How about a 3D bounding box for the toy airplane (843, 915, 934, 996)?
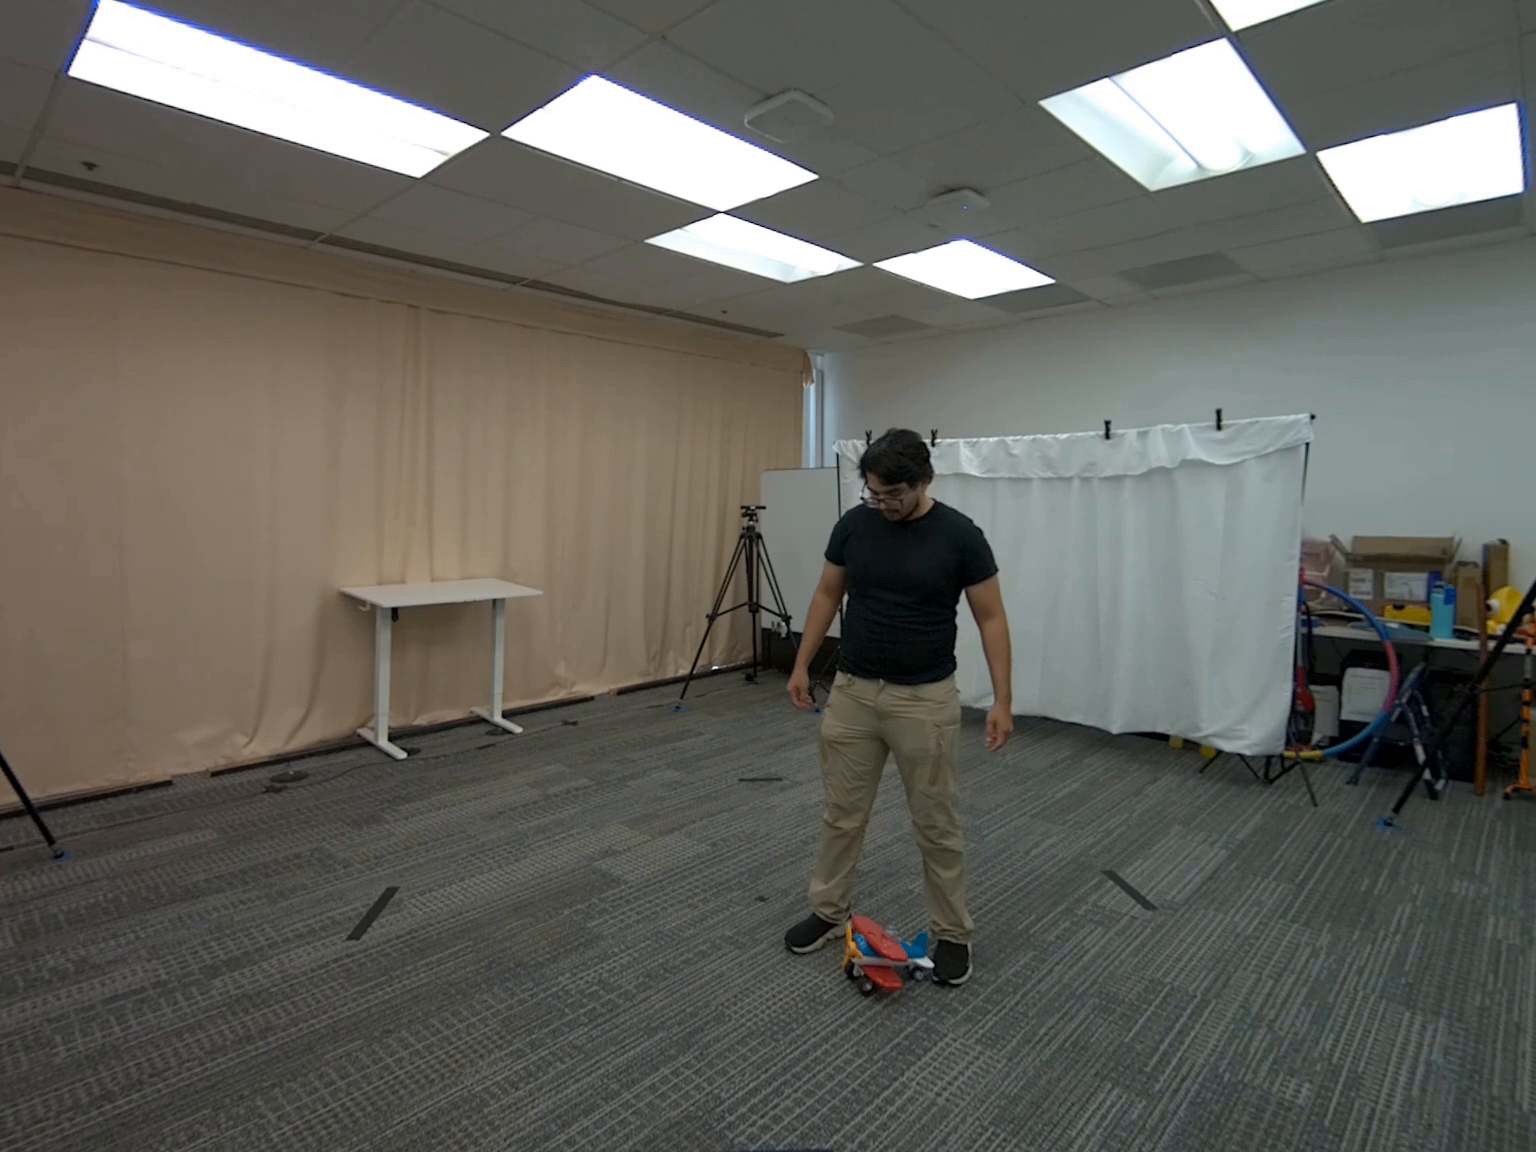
[{"bbox_3d":[0.345,1.117,2.469,0.259,0.156,0.251,4,7,42],"label":"toy airplane"}]
